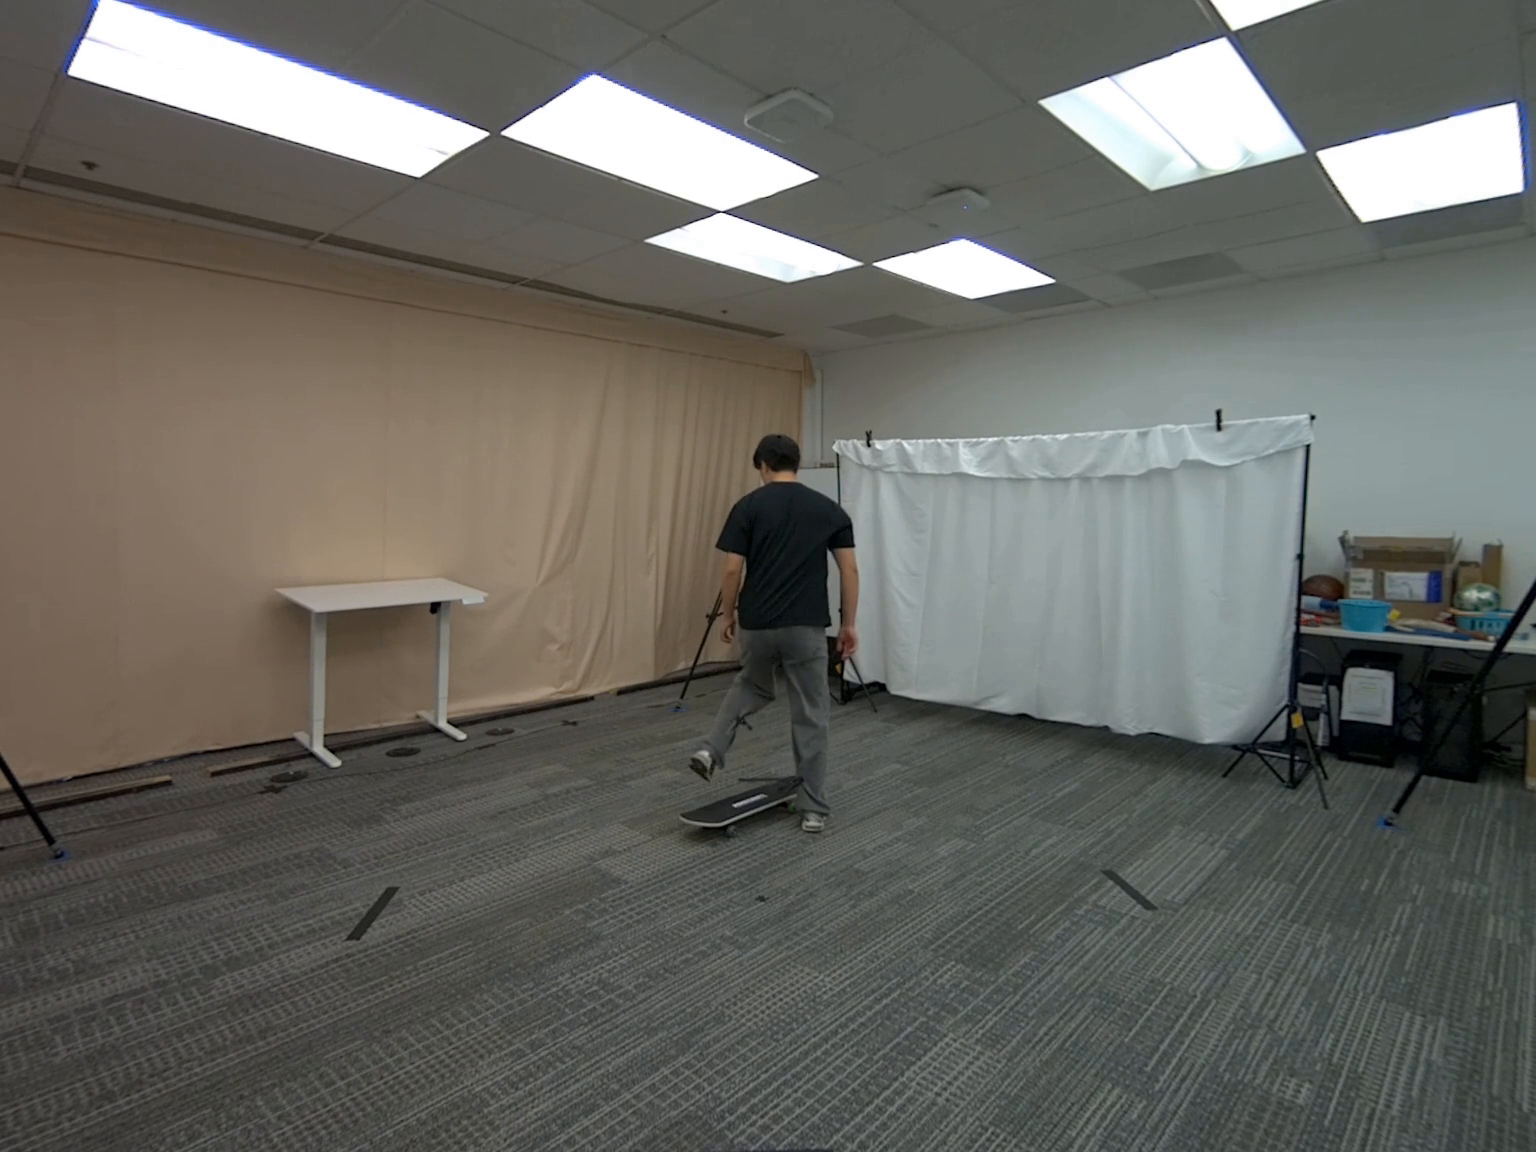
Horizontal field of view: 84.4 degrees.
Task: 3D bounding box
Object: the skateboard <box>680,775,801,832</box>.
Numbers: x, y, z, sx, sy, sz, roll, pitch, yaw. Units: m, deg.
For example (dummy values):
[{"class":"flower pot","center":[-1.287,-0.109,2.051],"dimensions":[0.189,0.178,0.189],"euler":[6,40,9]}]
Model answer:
[{"class":"skateboard","center":[-0.081,1.028,3.728],"dimensions":[0.200,0.110,0.761],"euler":[3,5,43]}]
